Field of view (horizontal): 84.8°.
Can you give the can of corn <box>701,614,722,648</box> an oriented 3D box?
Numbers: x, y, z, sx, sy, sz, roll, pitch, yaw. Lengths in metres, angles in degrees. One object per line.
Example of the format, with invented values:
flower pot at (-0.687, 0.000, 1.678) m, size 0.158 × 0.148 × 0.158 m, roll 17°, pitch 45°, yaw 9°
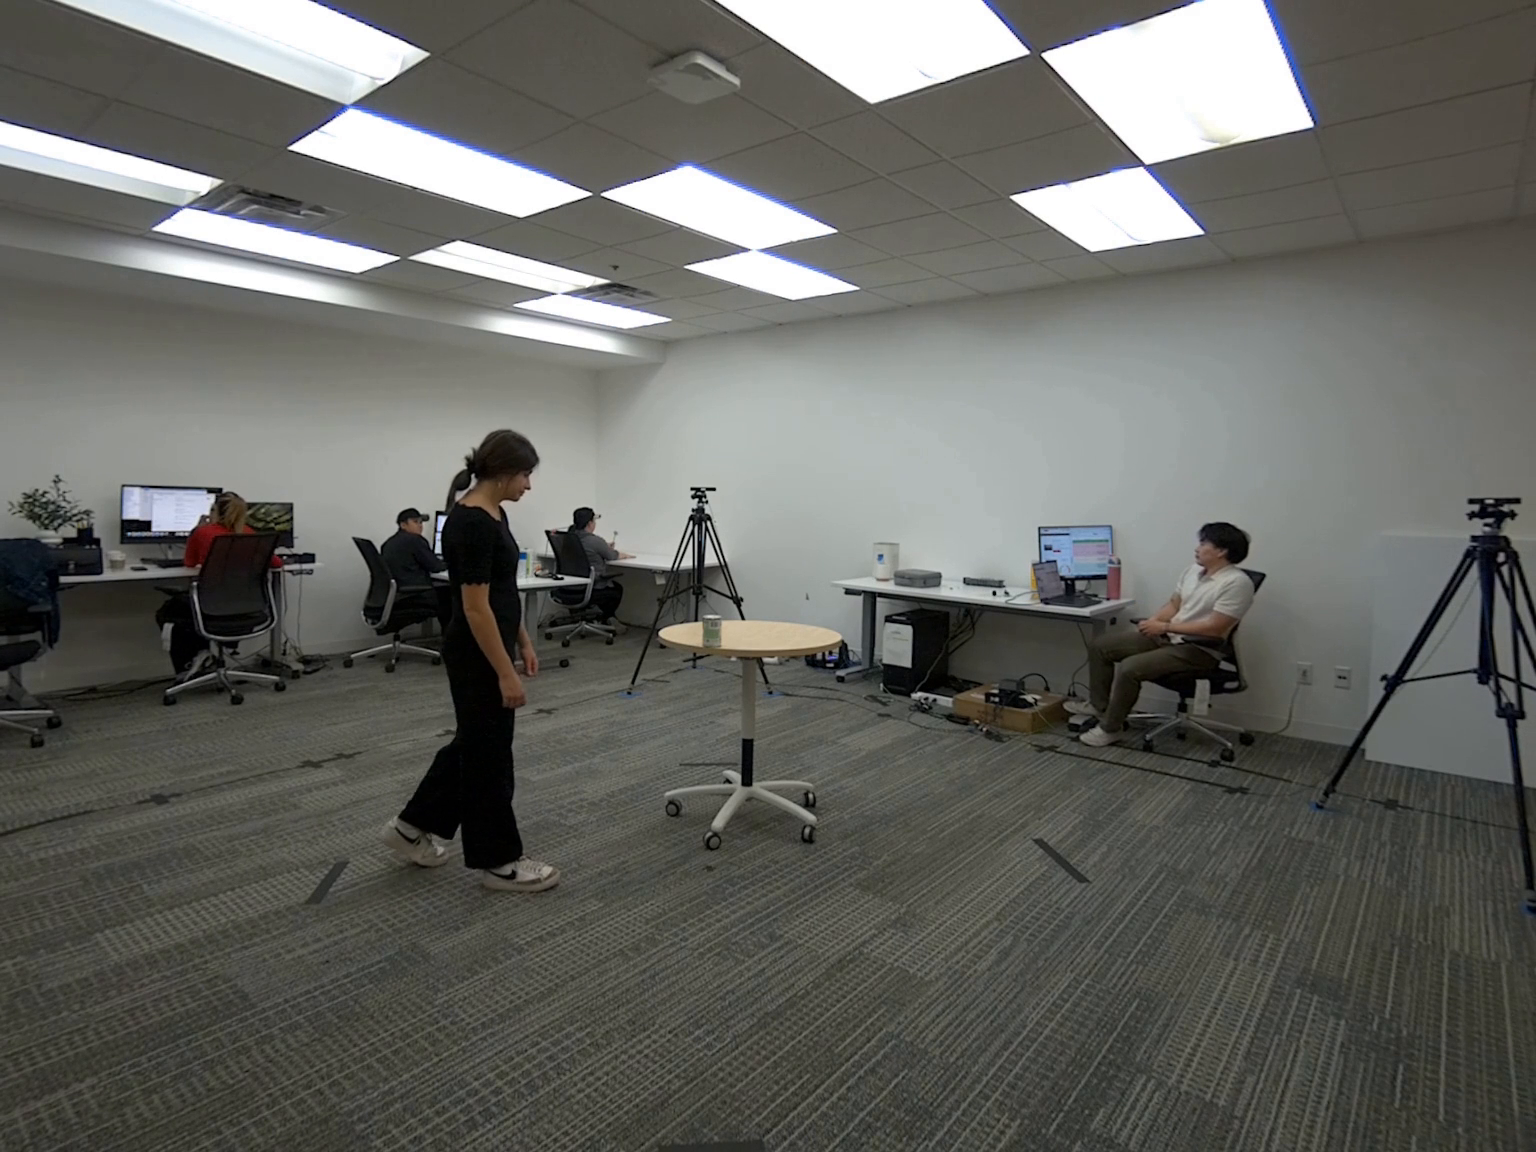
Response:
can of corn at (-0.229, 0.211, 3.263) m, size 0.074 × 0.111 × 0.074 m, roll 1°, pitch 3°, yaw -2°
